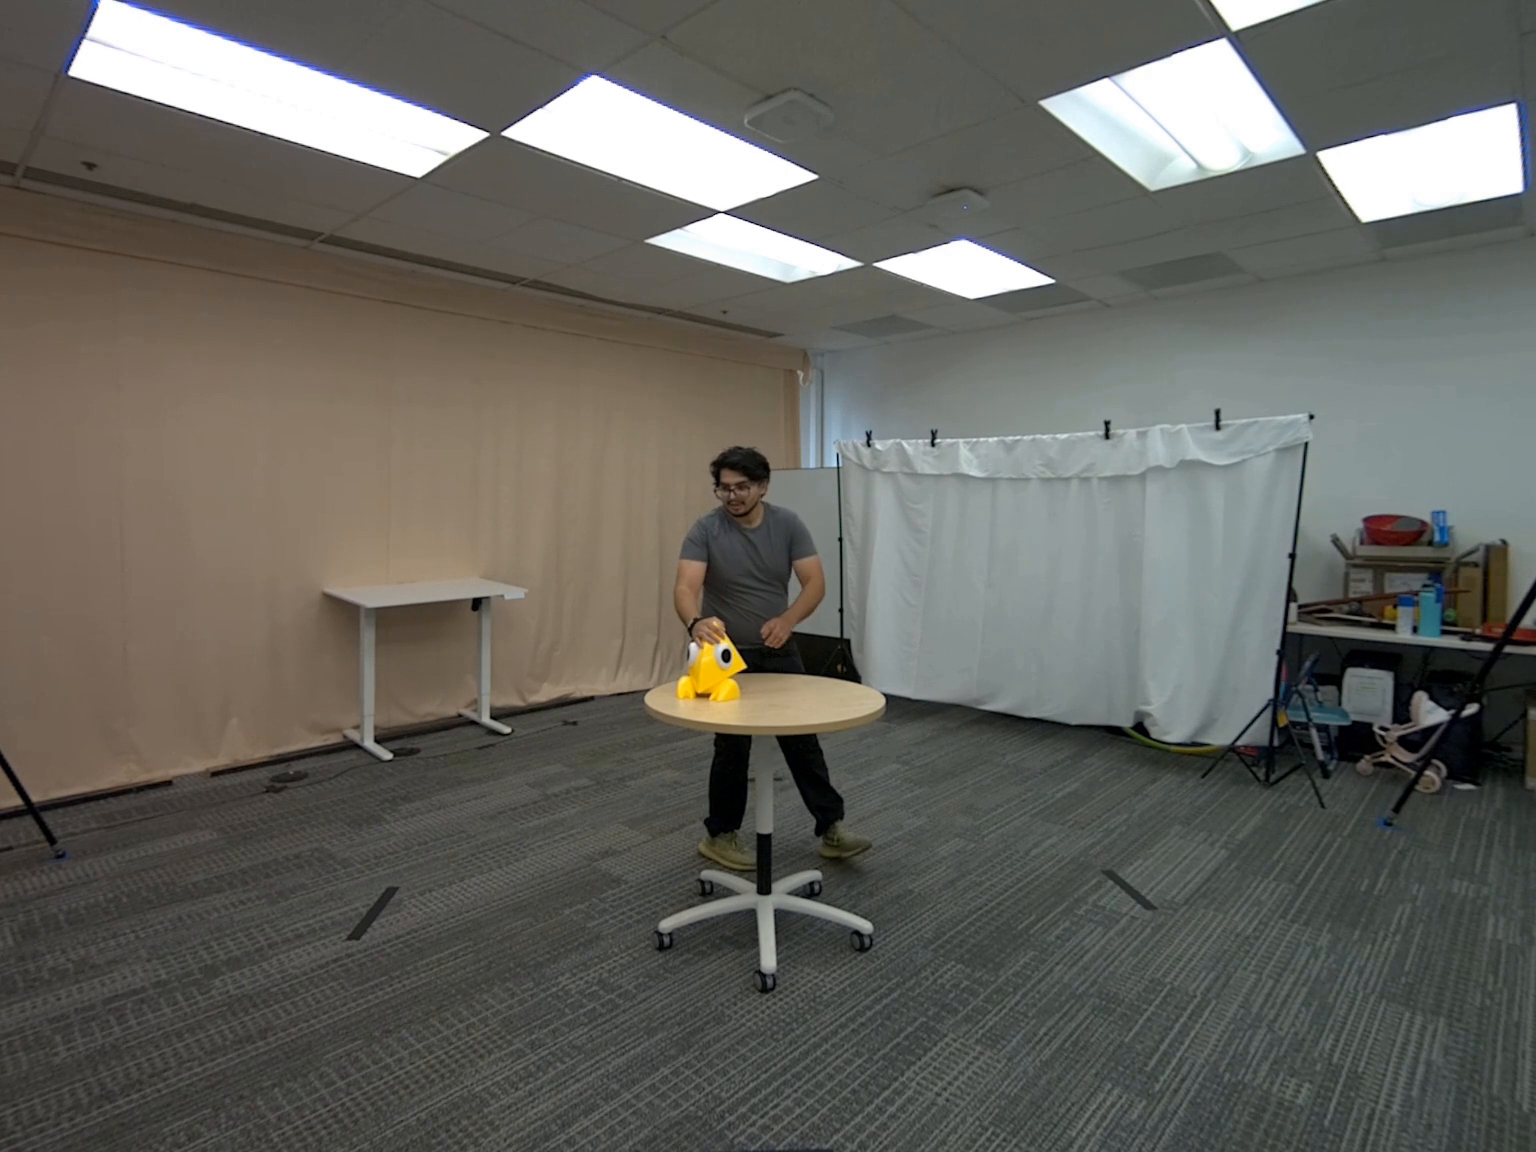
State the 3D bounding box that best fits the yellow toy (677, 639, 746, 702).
[{"bbox_3d":[-0.190,0.268,2.721,0.209,0.230,0.190,1,3,18],"label":"yellow toy"}]
